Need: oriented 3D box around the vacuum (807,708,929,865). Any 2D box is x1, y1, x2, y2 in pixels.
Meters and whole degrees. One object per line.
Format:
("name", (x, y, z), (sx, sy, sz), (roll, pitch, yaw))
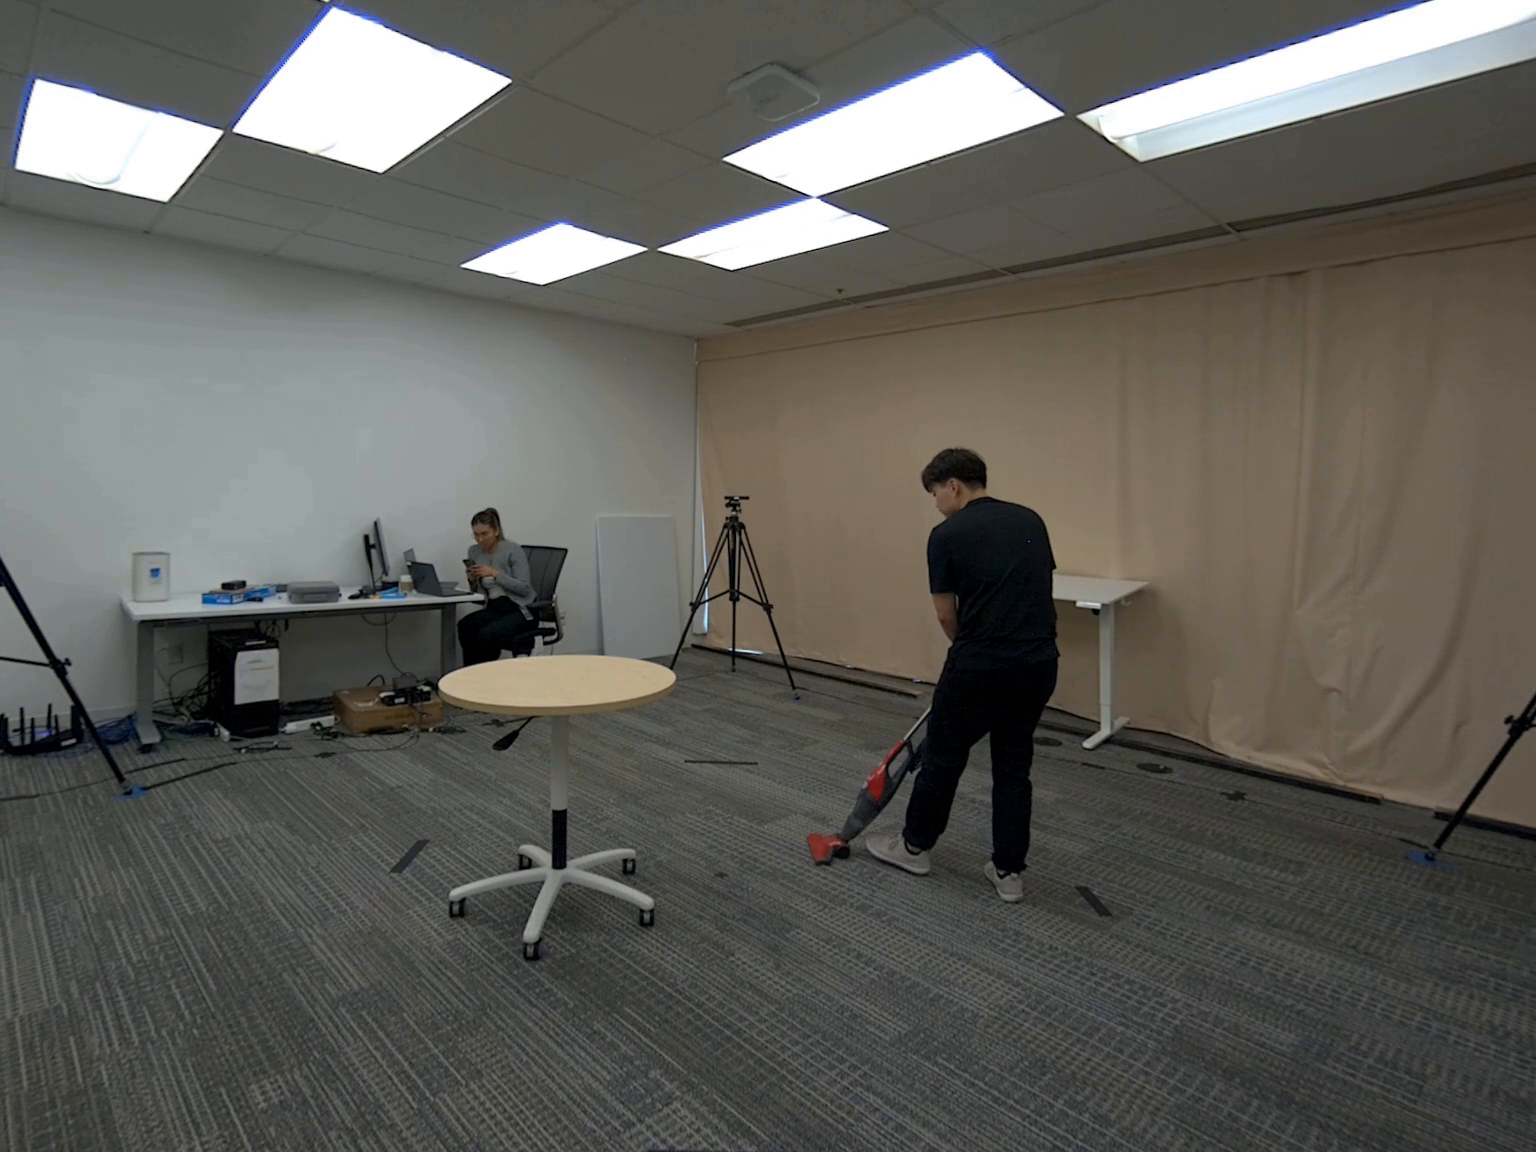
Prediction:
("vacuum", (0.543, 0.683, 3.332), (0.143, 1.049, 0.253), (40, 0, -4))
